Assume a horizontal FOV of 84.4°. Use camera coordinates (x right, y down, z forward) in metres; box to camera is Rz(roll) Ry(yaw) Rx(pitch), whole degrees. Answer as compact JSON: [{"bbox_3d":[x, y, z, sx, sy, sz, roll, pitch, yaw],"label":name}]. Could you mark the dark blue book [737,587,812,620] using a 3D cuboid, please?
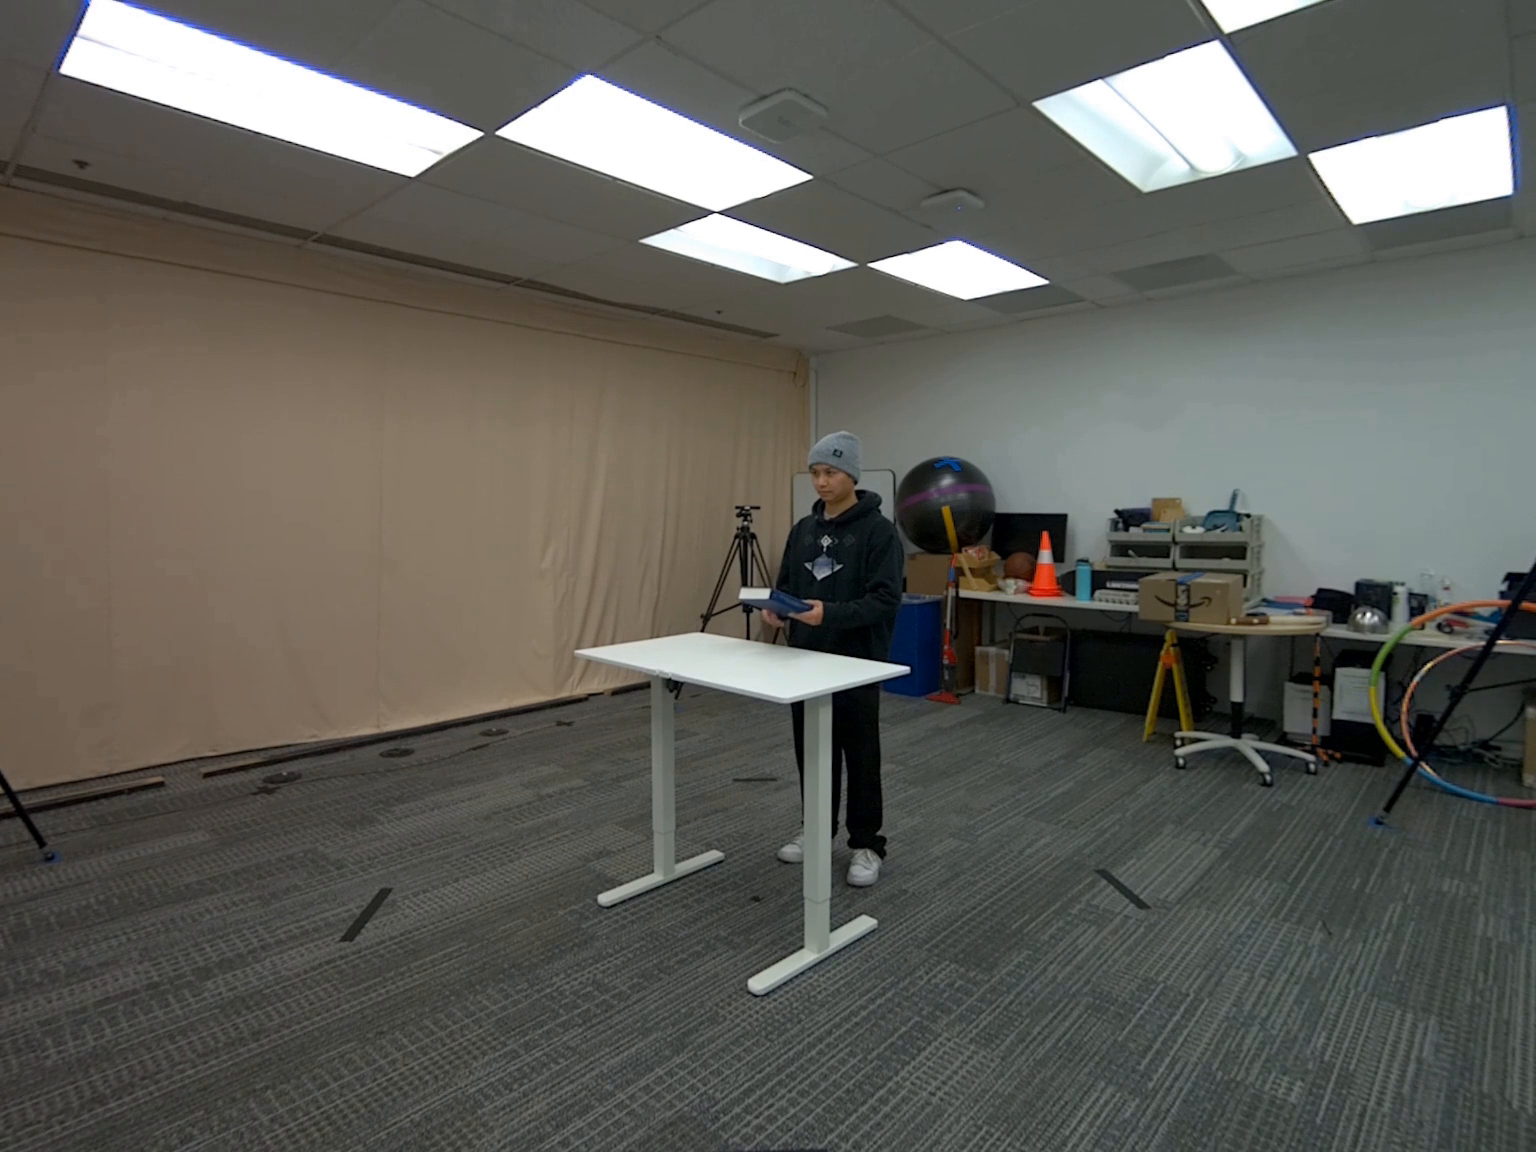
[{"bbox_3d":[0.023,0.094,2.971,0.169,0.045,0.236,1,-17,46],"label":"dark blue book"}]
